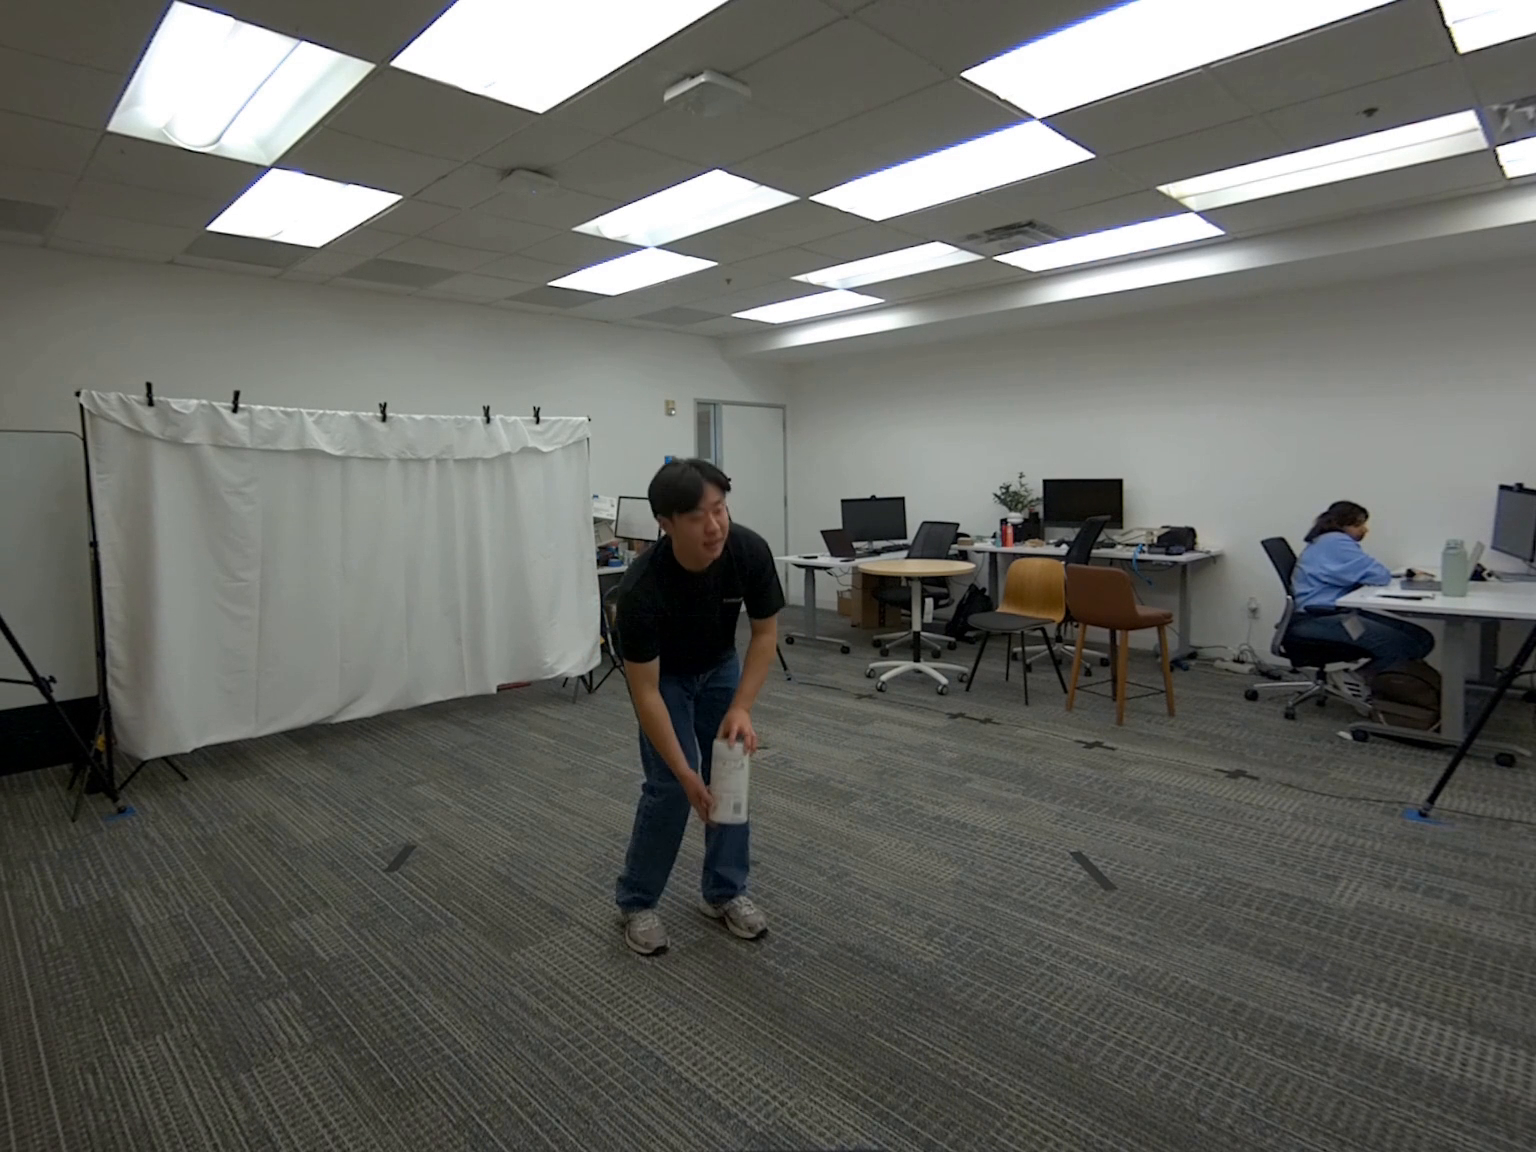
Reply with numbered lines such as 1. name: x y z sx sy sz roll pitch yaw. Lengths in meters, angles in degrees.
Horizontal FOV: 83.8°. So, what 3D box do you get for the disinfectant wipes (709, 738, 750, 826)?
1. disinfectant wipes: -0.103 0.573 2.373 0.118 0.218 0.117 2 -5 -1
